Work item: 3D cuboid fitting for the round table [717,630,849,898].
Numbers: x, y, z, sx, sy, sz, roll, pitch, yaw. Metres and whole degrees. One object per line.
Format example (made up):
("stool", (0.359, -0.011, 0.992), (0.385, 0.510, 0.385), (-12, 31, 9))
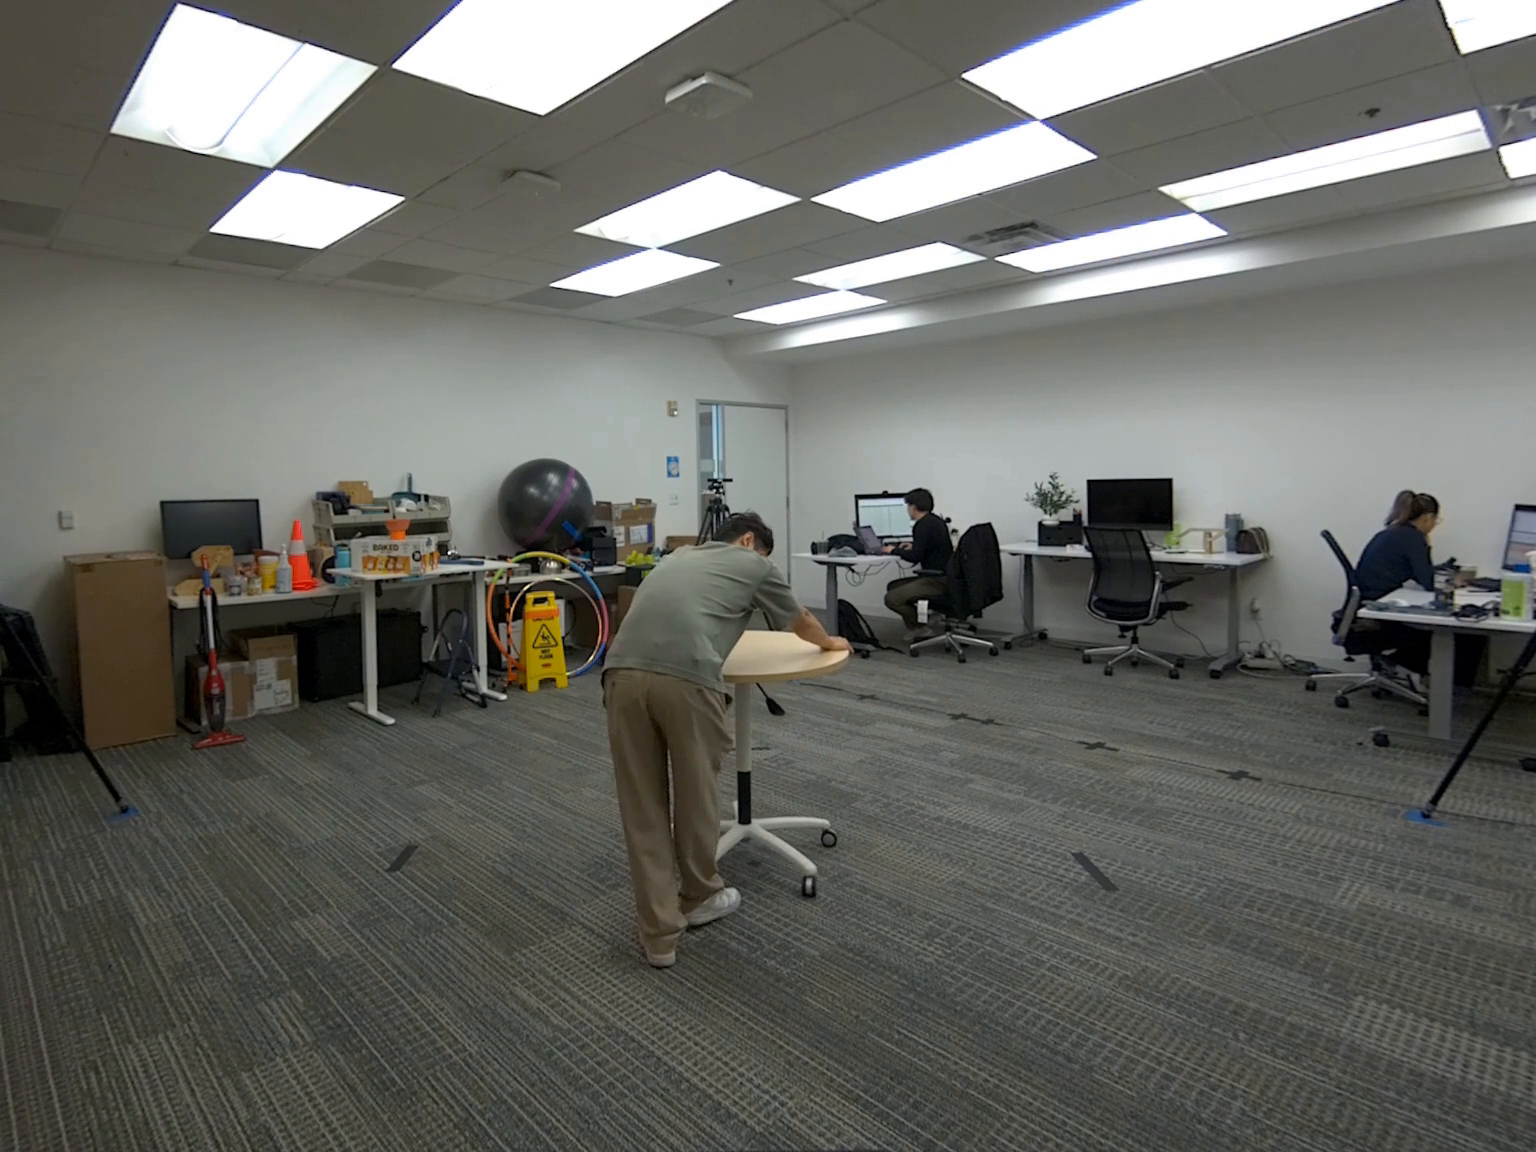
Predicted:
("round table", (-0.091, 0.652, 3.125), (0.784, 0.783, 0.789), (-1, 5, -2))
